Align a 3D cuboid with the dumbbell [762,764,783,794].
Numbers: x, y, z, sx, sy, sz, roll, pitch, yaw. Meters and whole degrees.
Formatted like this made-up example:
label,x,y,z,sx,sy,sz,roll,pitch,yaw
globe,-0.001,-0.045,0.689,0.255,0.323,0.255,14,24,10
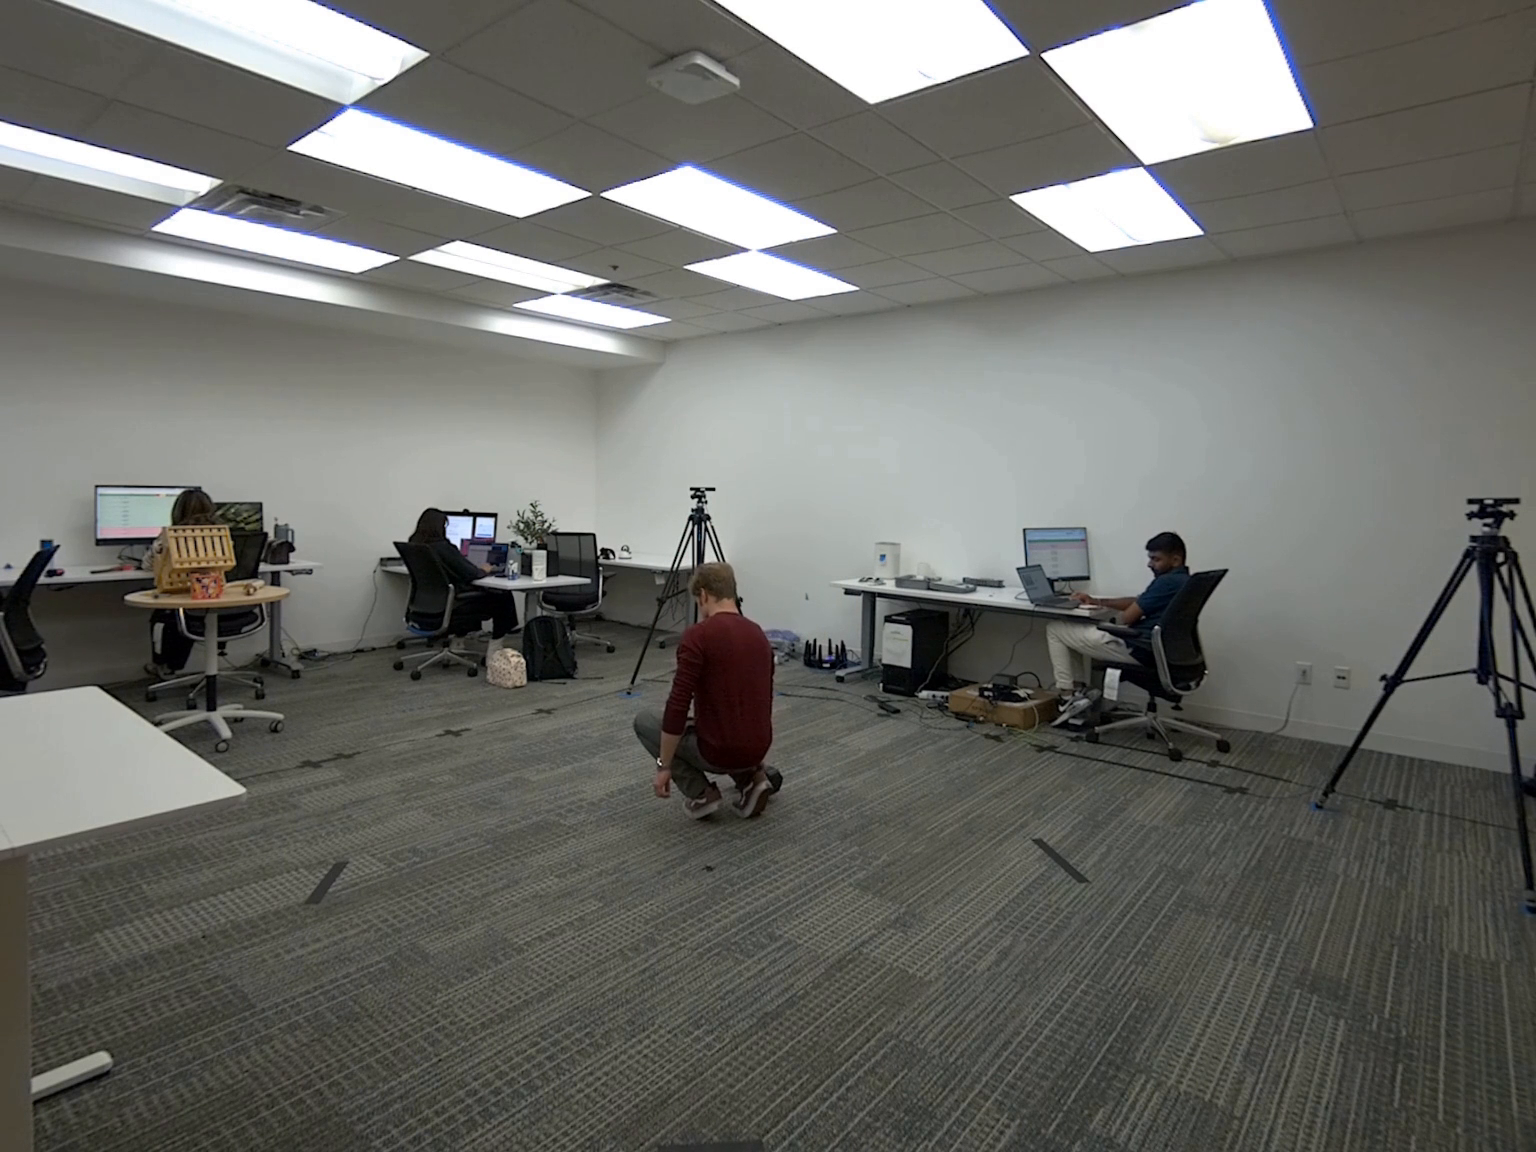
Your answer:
label,x,y,z,sx,sy,sz,roll,pitch,yaw
dumbbell,-0.075,0.885,3.876,0.304,0.119,0.108,10,47,48
